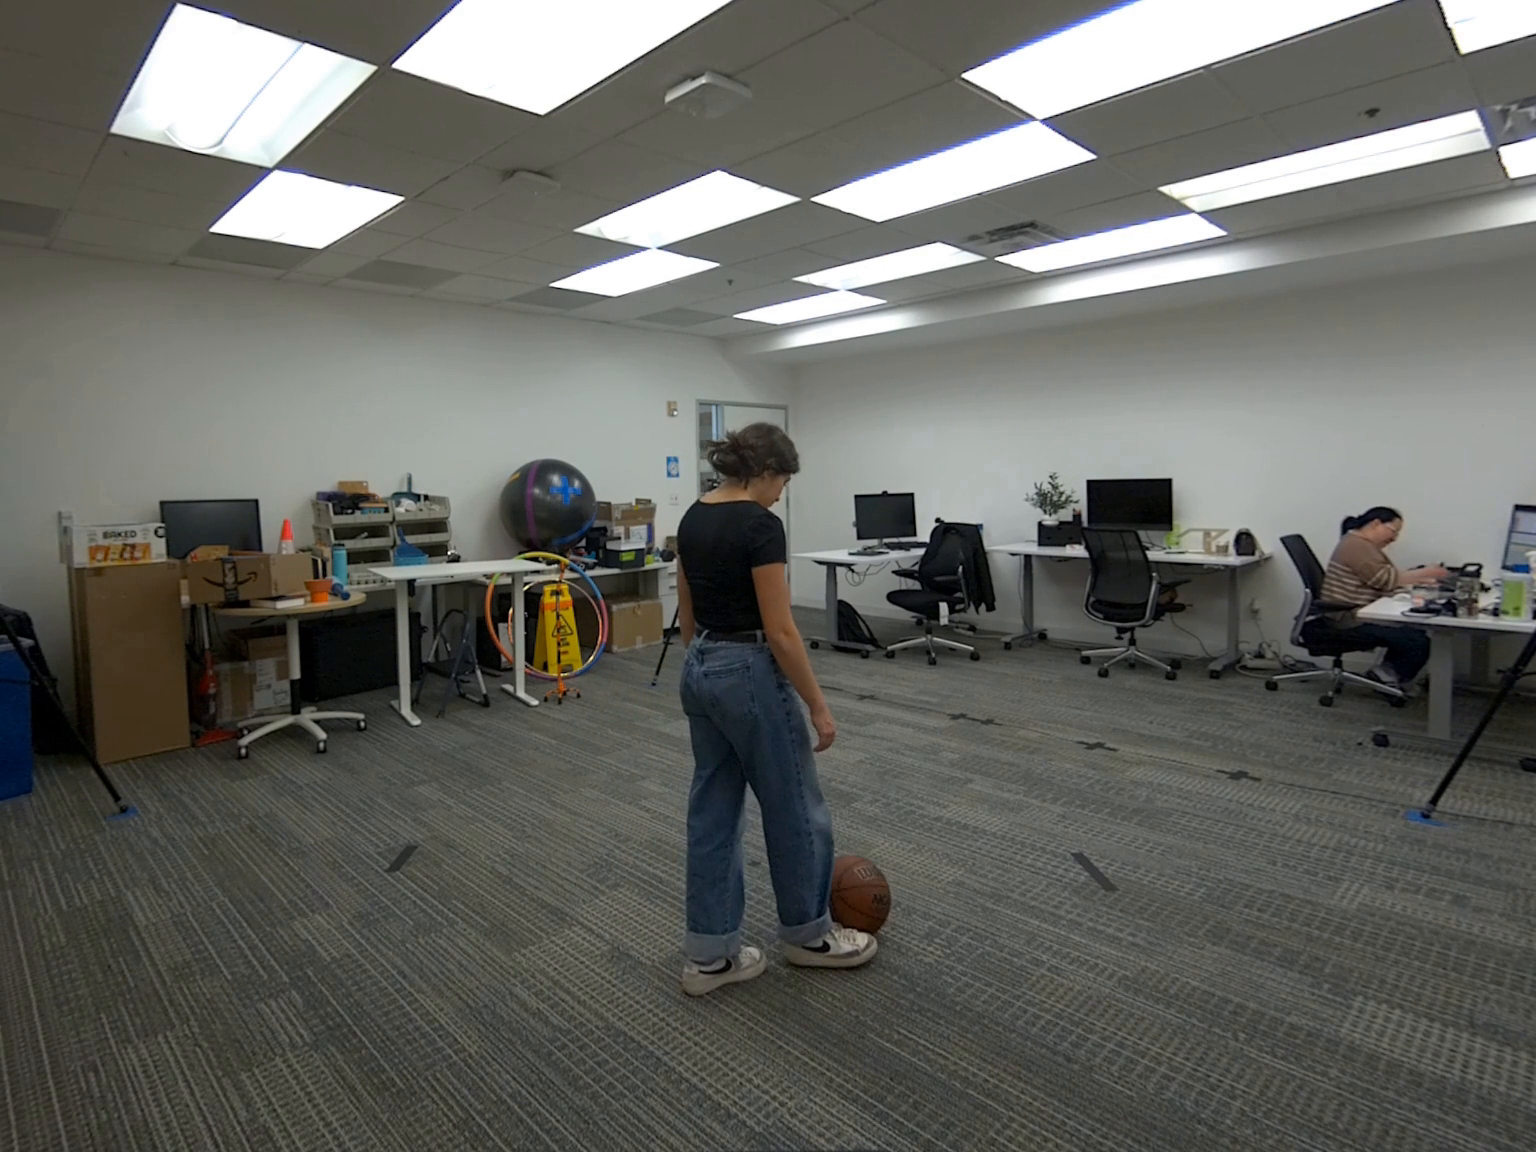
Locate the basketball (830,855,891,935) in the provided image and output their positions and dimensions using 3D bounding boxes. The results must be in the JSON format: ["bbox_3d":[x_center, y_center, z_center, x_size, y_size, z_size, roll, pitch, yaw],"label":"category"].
[{"bbox_3d":[0.260,0.975,2.611,0.236,0.235,0.237,-1,5,-2],"label":"basketball"}]
